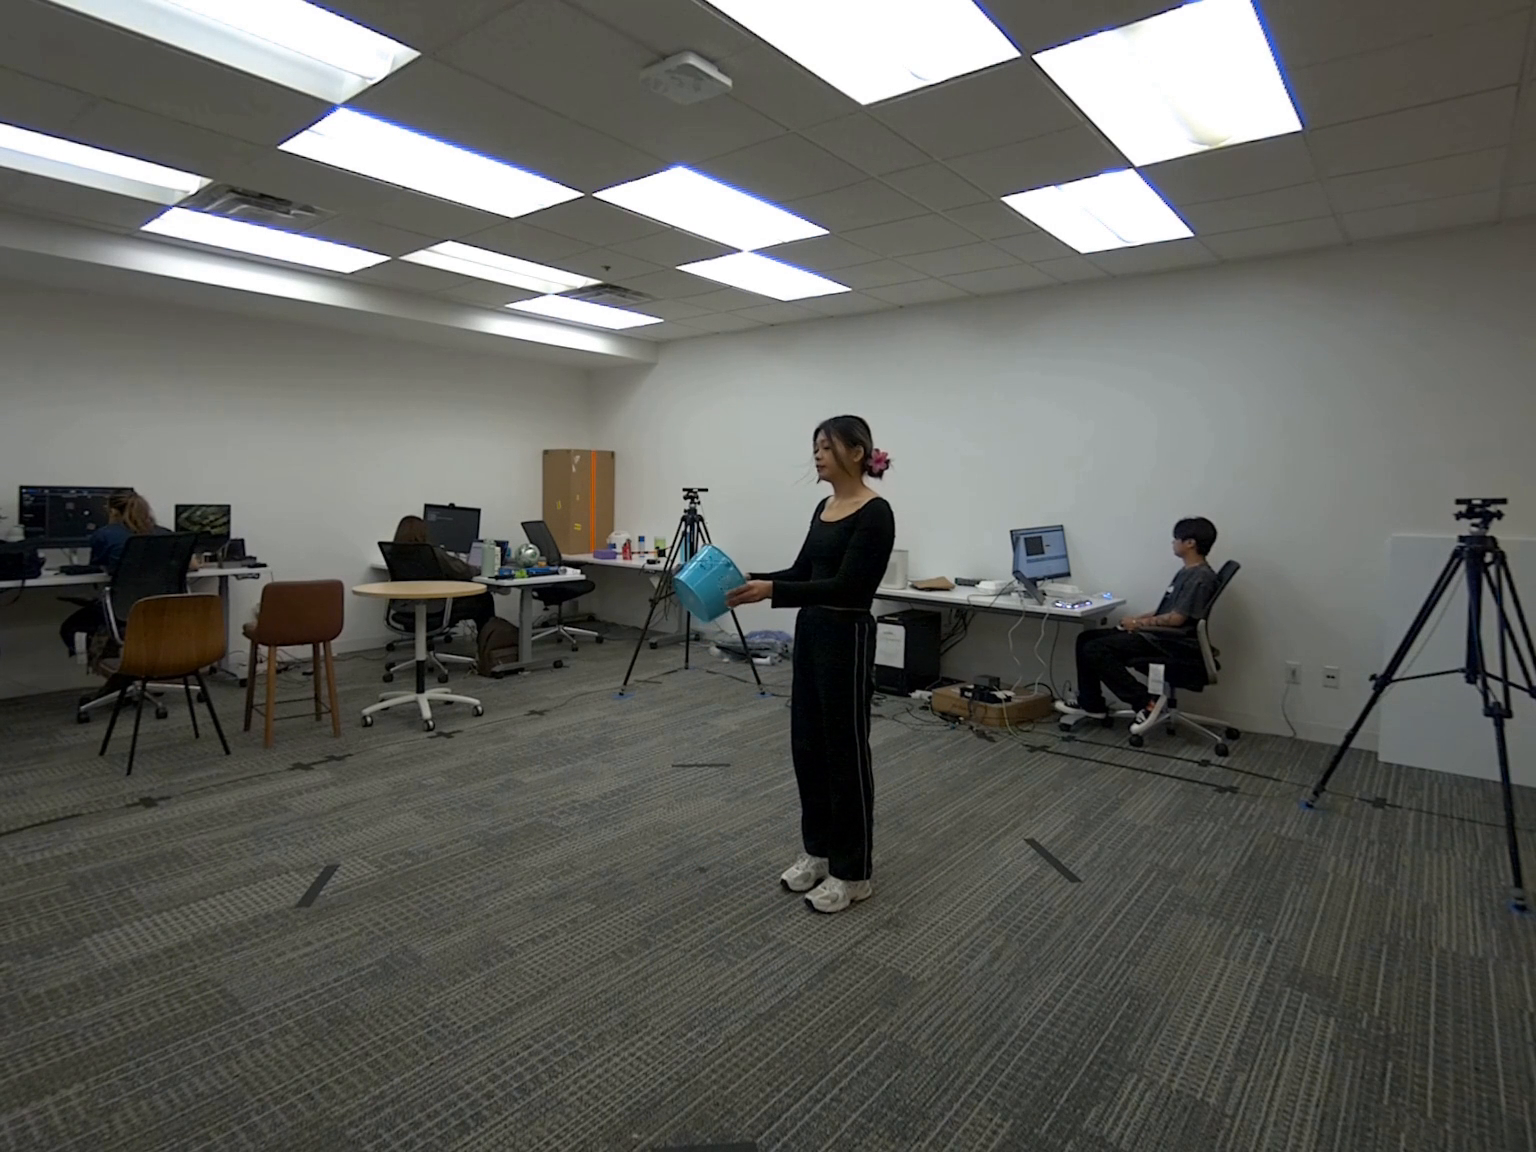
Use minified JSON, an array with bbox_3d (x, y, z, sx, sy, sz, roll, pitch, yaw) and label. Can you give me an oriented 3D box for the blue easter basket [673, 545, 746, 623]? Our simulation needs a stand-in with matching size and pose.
[{"bbox_3d":[-0.198,0.038,2.720,0.155,0.237,0.251,-39,21,-21],"label":"blue easter basket"}]
